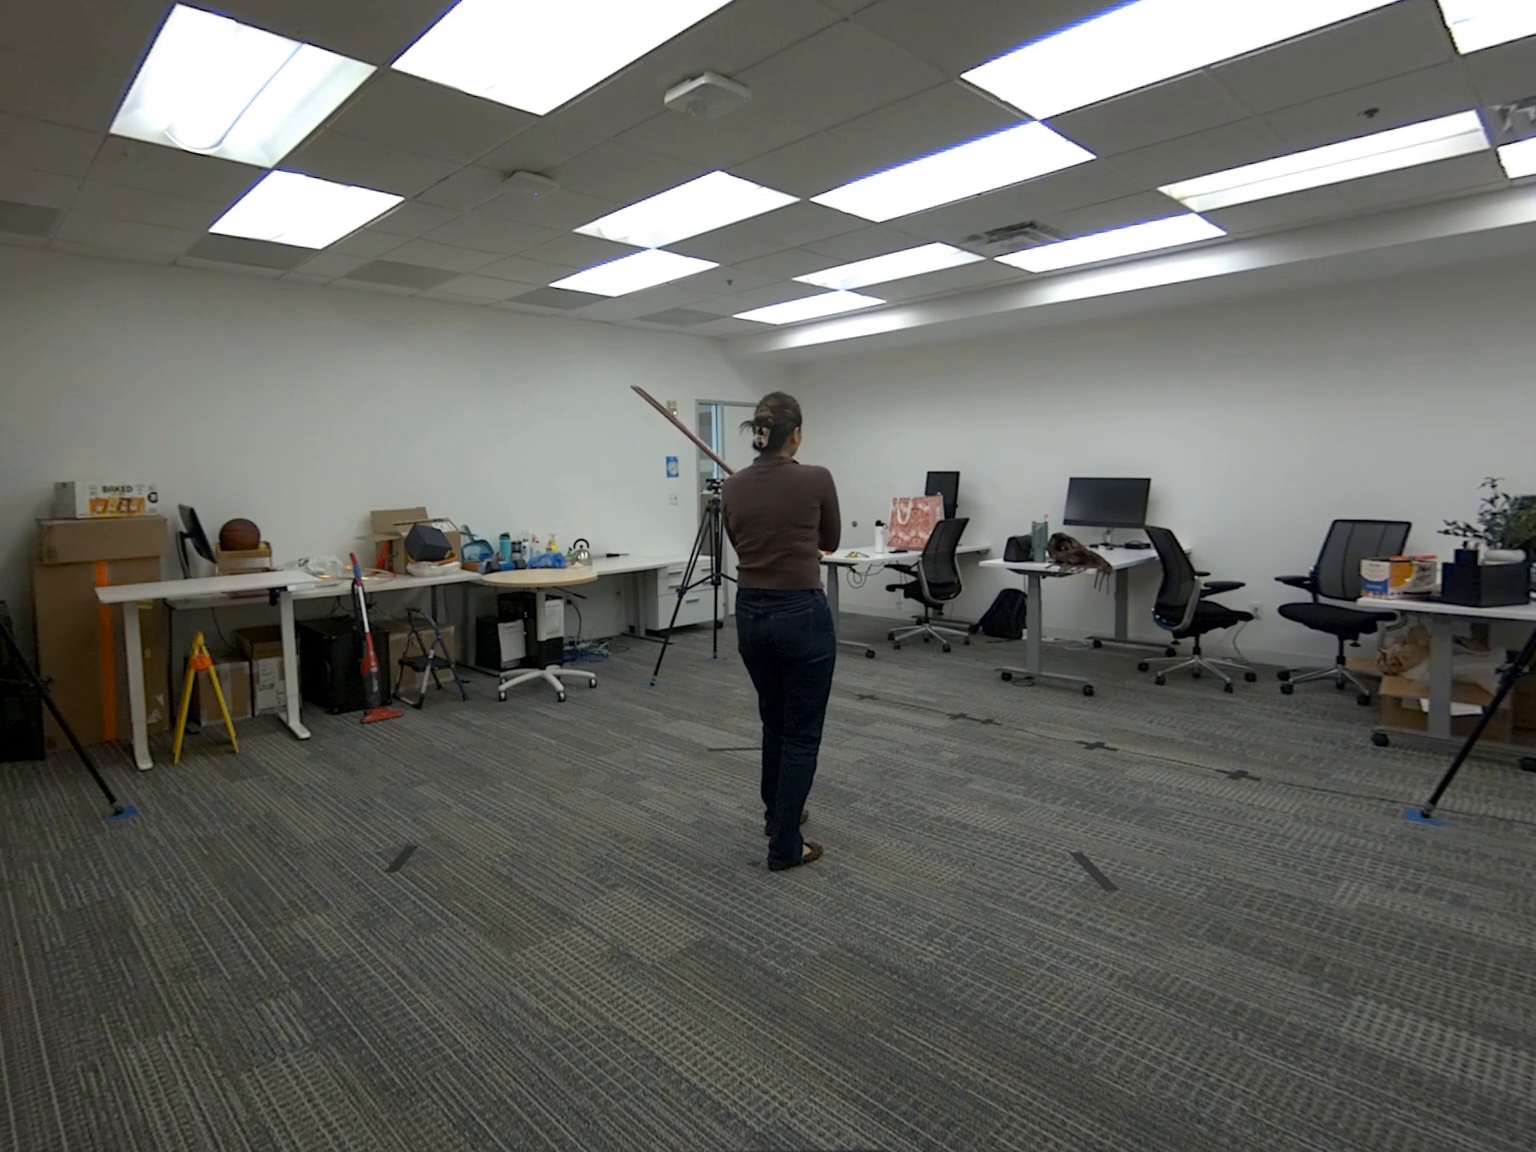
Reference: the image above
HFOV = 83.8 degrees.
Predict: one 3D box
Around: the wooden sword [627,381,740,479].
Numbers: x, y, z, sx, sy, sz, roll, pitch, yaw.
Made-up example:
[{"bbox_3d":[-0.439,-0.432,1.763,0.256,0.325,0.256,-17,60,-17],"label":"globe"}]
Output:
[{"bbox_3d":[-0.168,-0.432,3.450,0.051,1.028,0.024,-47,-3,-39],"label":"wooden sword"}]
